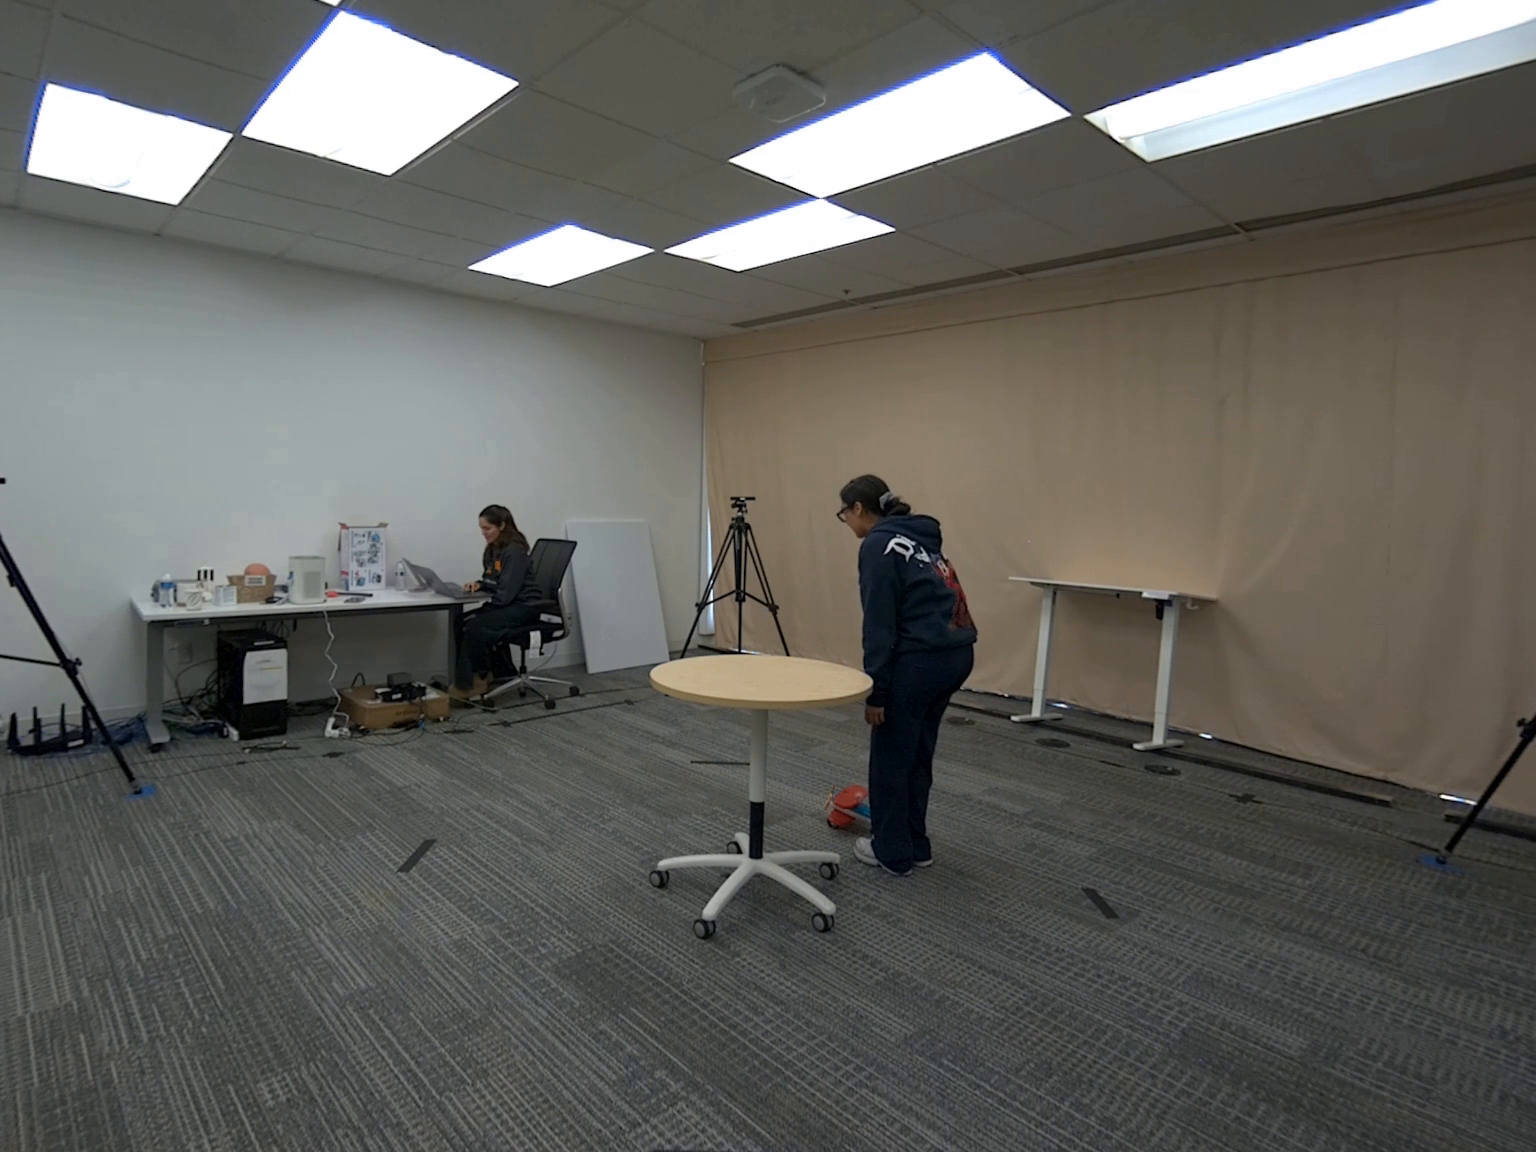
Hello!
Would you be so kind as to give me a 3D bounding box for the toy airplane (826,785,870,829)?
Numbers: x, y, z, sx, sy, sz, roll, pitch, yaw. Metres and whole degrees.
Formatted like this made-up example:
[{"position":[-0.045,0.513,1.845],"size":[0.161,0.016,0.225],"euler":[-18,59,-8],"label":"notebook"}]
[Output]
[{"position":[0.368,1.000,3.604],"size":[0.260,0.156,0.251],"euler":[0,4,2],"label":"toy airplane"}]
